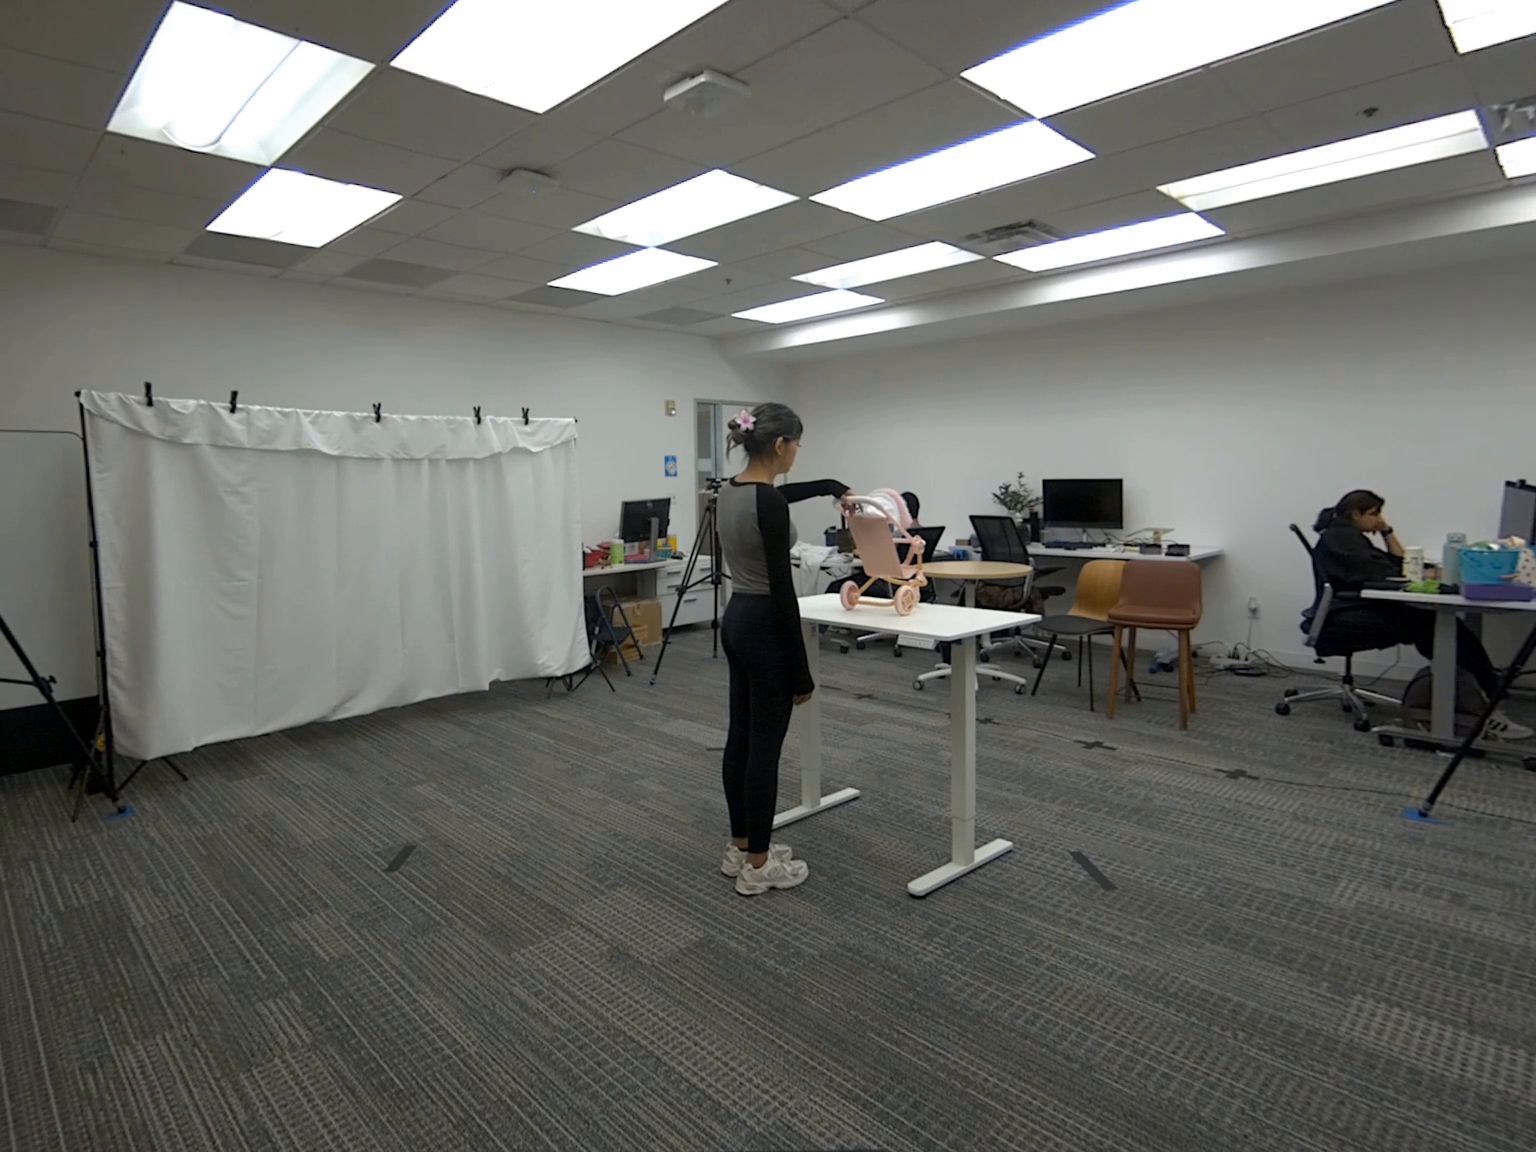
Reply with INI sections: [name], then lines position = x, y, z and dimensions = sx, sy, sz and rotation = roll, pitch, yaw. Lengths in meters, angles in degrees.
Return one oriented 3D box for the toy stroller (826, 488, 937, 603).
[toy stroller]
position = 0.457, -0.090, 3.250
dimensions = 0.336, 0.527, 0.290
rotation = -23, 19, -39
